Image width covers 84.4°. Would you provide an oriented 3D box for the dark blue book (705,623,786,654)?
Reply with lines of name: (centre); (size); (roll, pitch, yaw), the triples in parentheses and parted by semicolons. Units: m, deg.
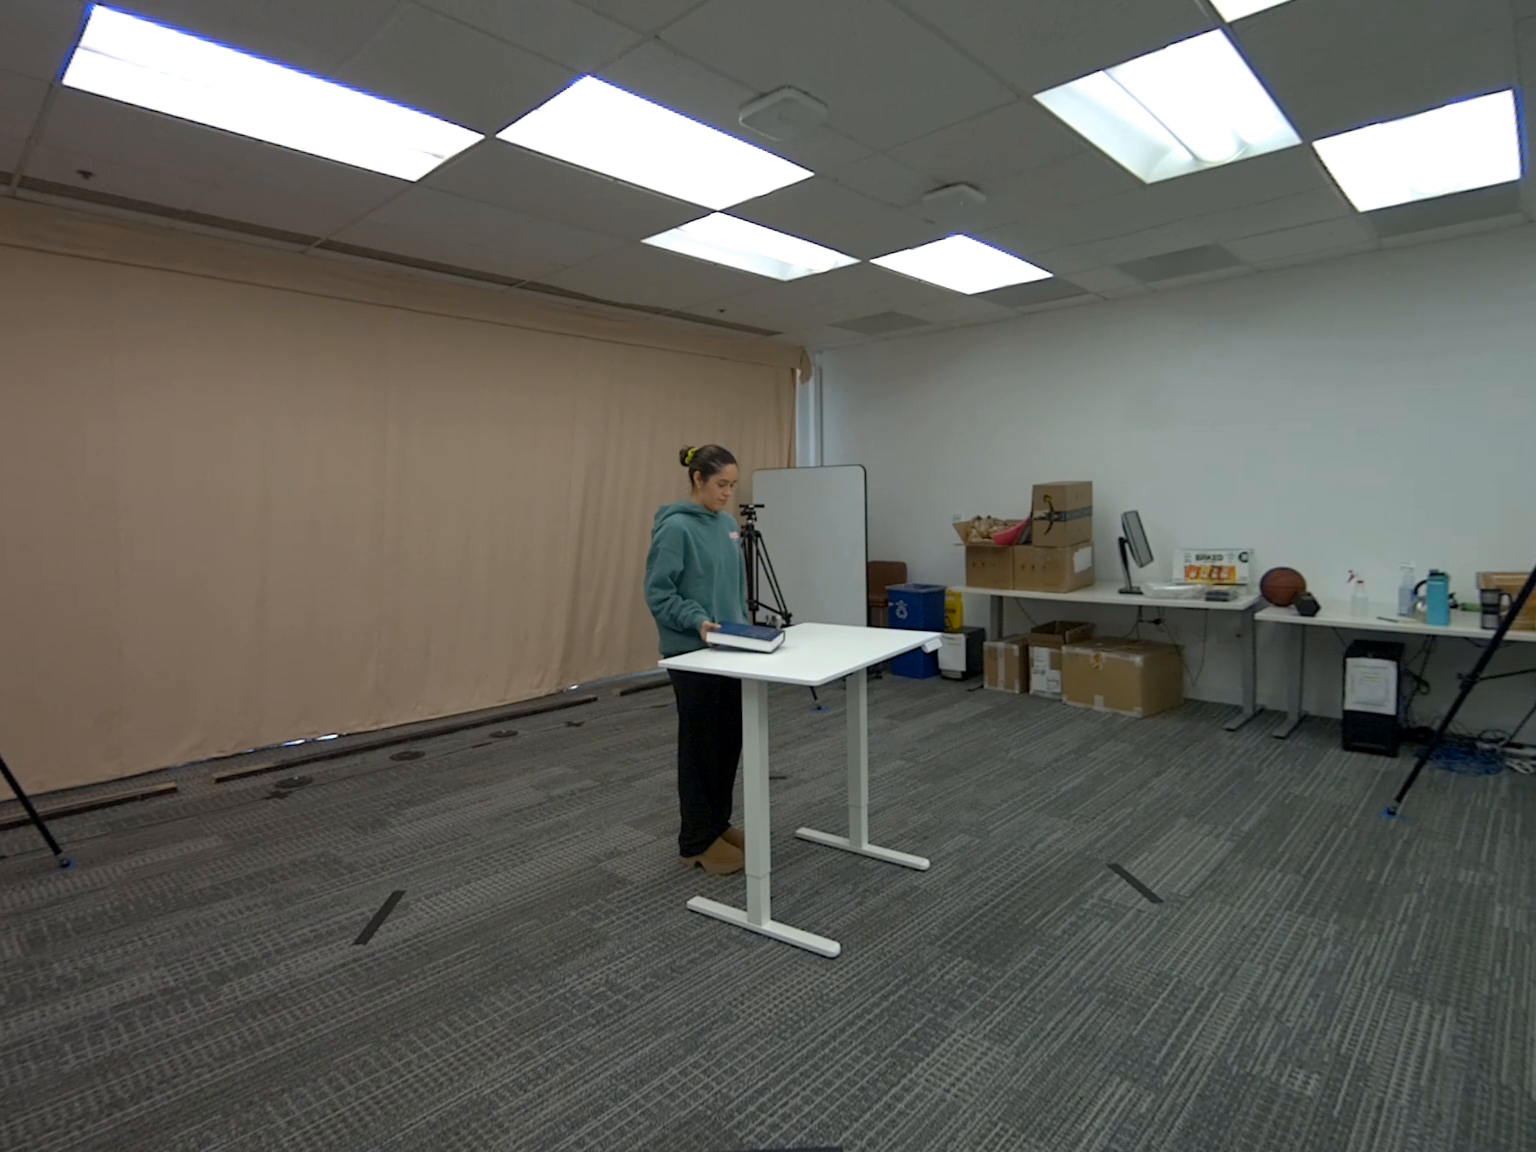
dark blue book: (-0.068, 0.212, 2.971); (0.250, 0.045, 0.161); (5, 10, 17)
